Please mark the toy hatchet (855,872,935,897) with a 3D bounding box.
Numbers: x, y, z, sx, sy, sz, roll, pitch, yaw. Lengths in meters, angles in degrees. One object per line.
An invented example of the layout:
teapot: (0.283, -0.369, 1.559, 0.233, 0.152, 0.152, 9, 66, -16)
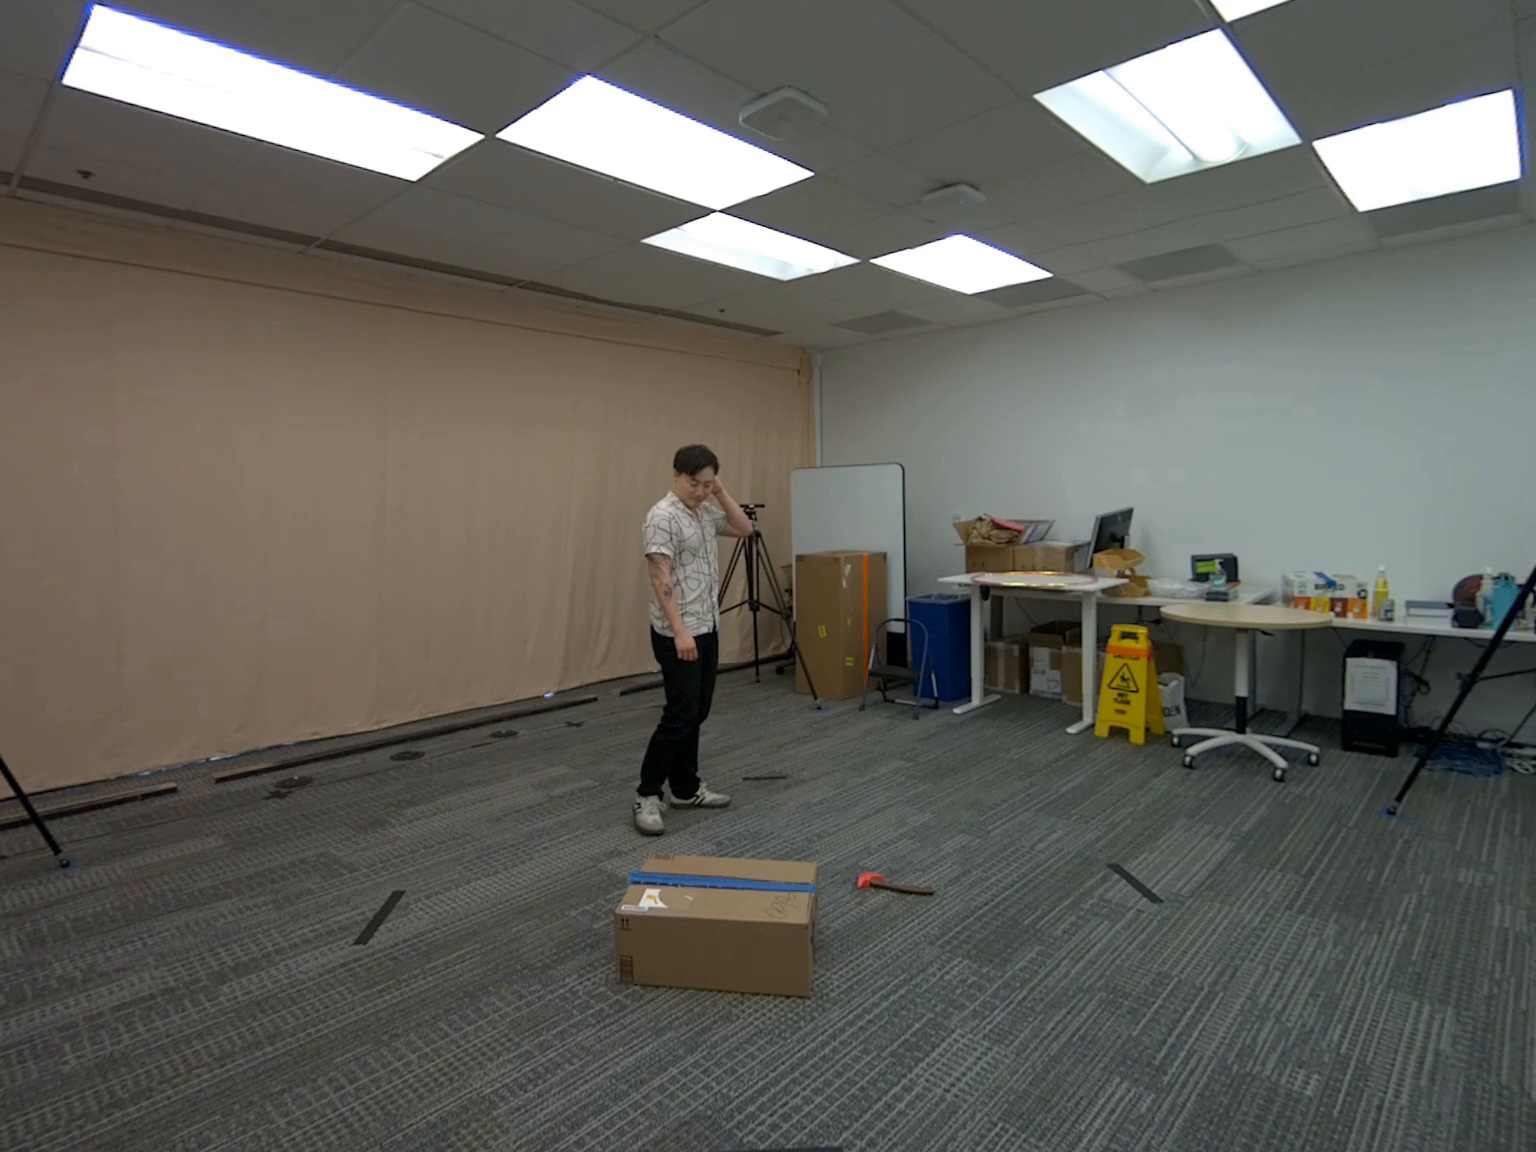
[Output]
toy hatchet: (0.464, 1.113, 3.052, 0.273, 0.029, 0.130, 1, 3, 10)
